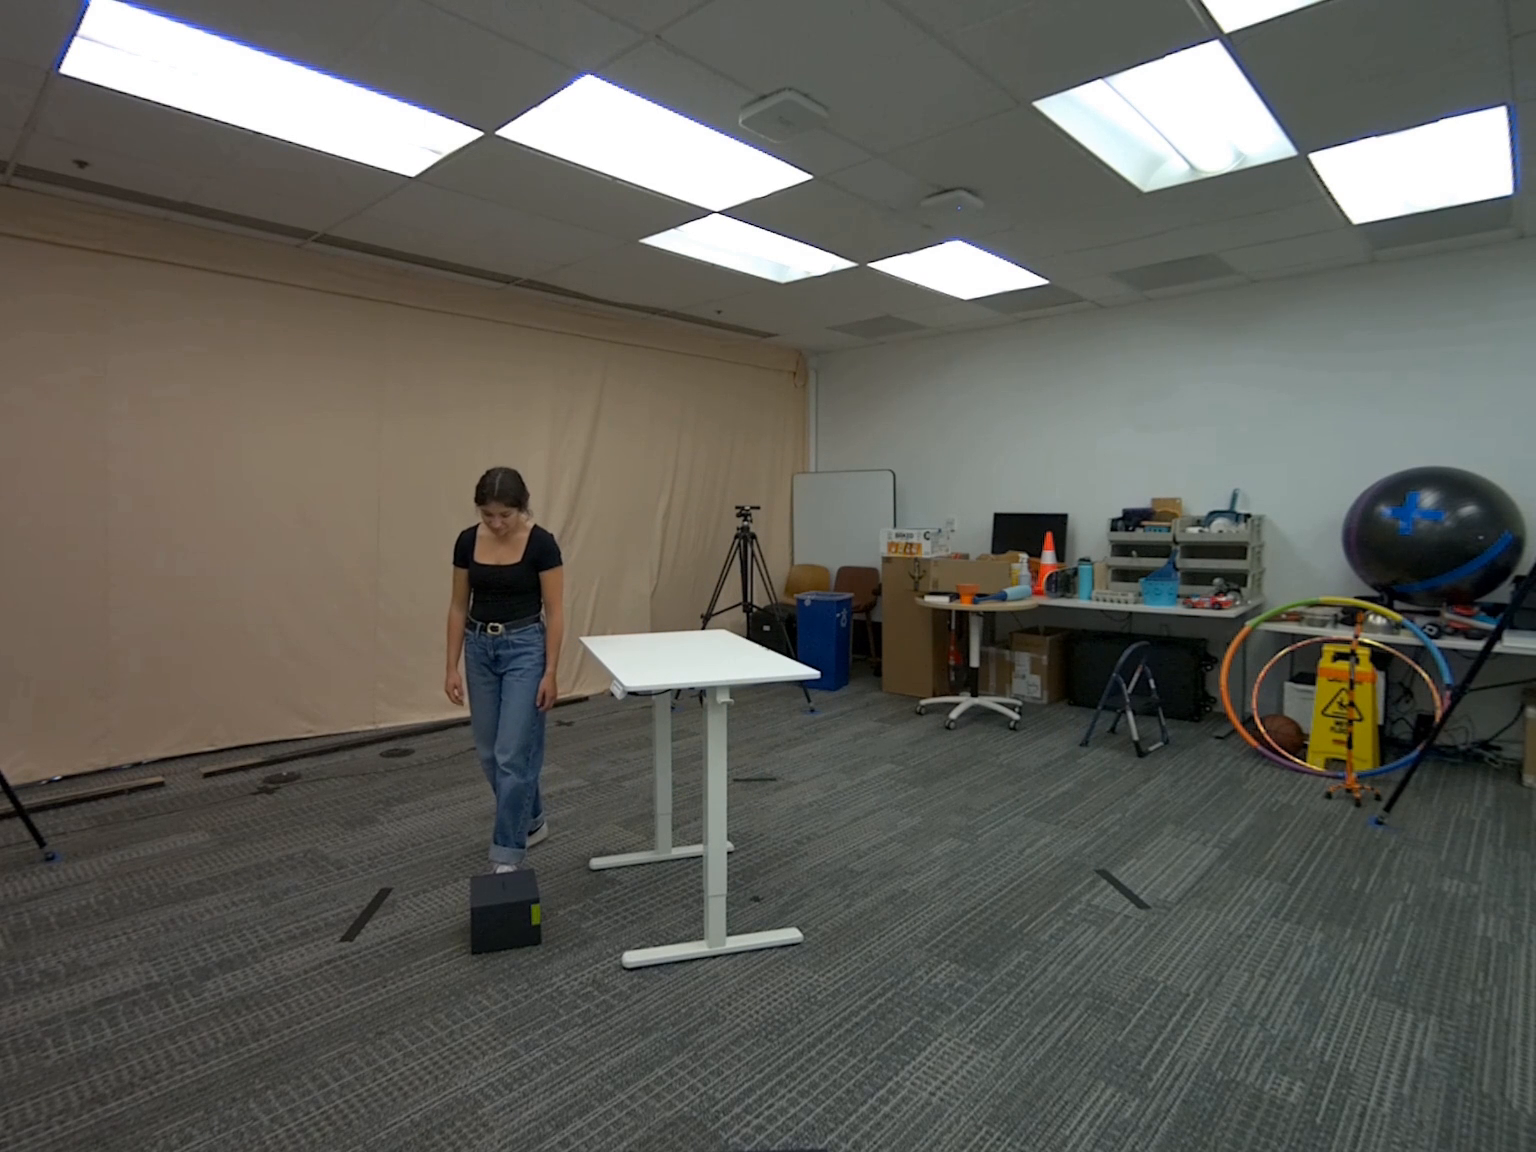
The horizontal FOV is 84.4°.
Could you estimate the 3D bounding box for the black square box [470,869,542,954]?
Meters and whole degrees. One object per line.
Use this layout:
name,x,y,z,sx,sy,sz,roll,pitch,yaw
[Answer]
black square box,-0.862,1.088,2.748,0.213,0.155,0.233,-2,4,-19
